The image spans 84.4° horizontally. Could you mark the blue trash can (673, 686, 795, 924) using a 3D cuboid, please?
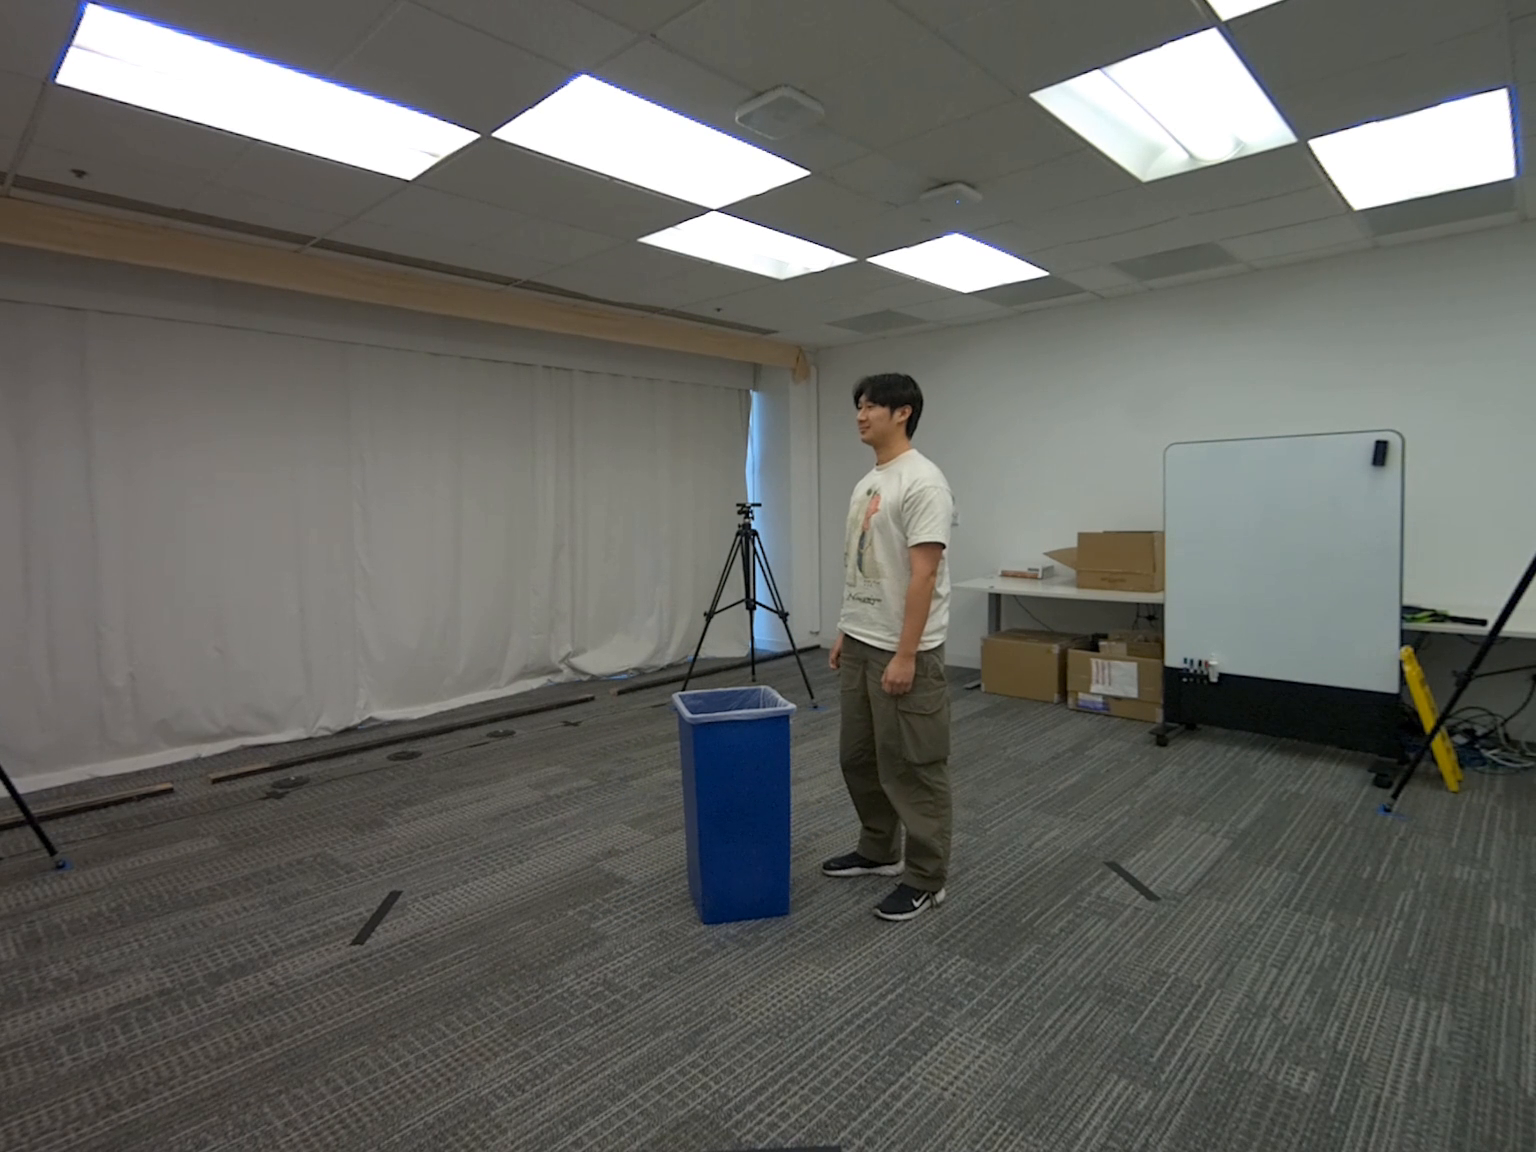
[{"bbox_3d":[-0.116,0.786,2.942,0.369,0.712,0.384,-2,3,-14],"label":"blue trash can"}]
